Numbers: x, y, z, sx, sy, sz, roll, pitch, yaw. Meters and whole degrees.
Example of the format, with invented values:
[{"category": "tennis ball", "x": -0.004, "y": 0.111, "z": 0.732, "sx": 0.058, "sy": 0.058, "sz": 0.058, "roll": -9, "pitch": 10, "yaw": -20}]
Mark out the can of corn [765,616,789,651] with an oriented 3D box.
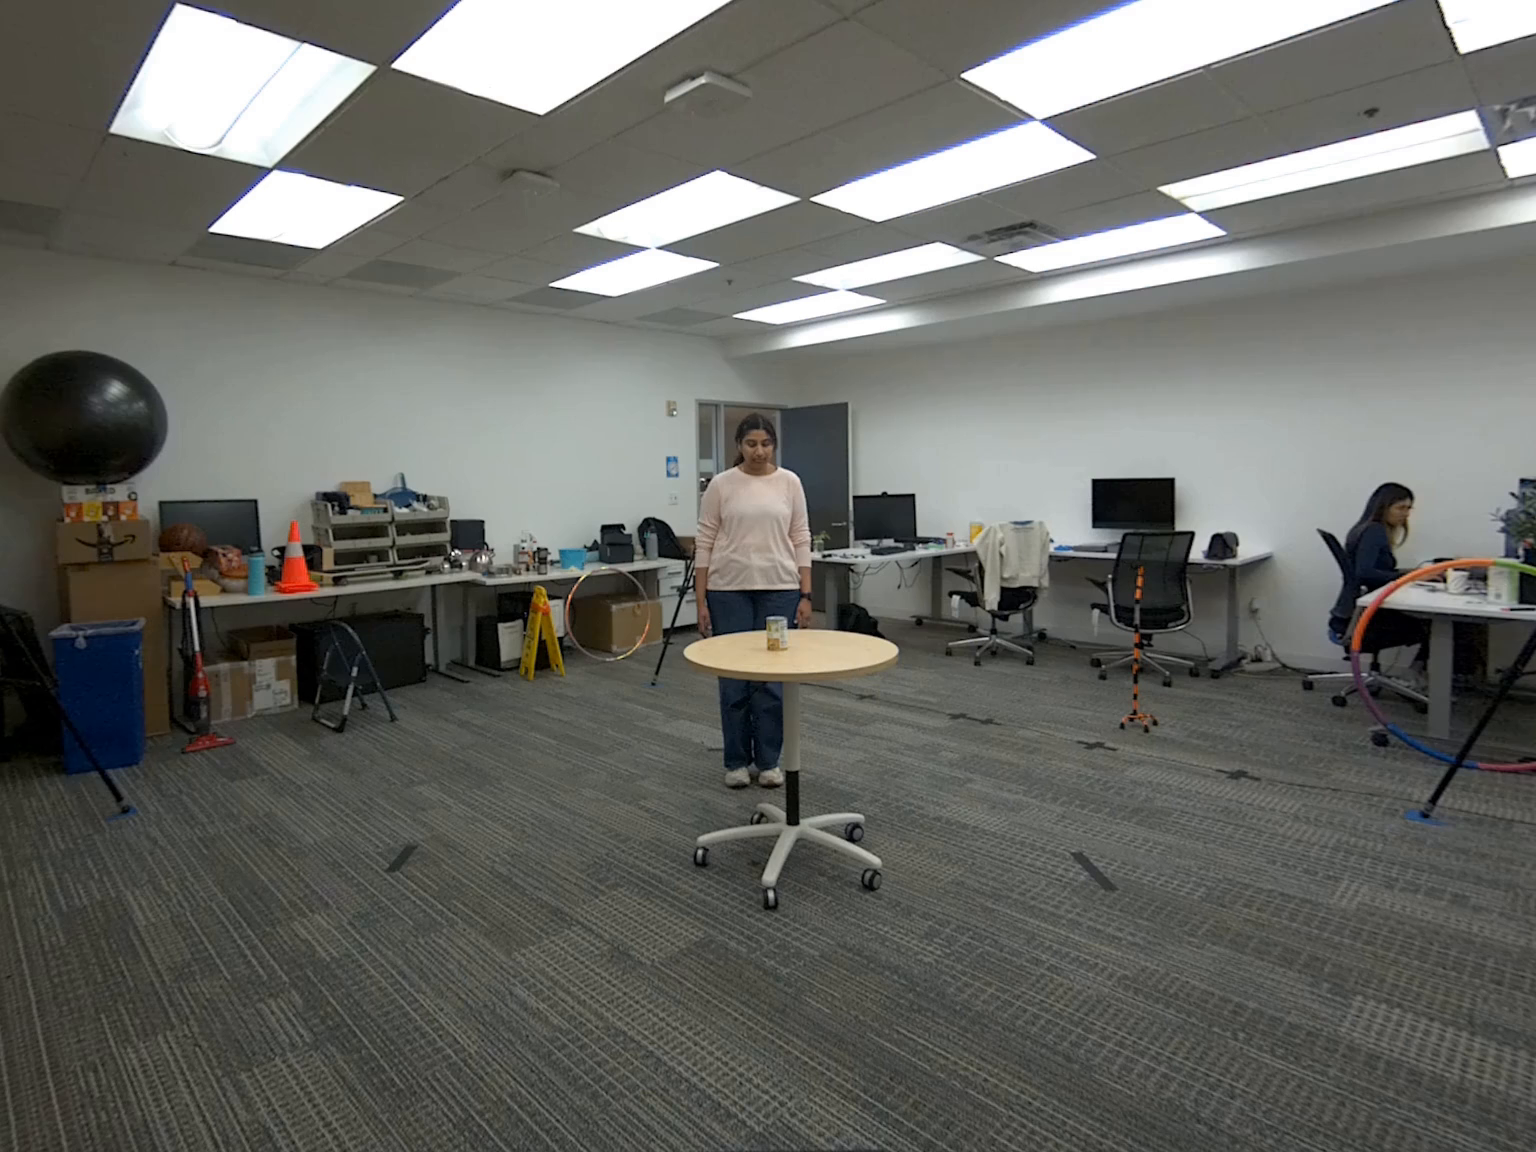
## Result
[{"category": "can of corn", "x": 0.031, "y": 0.208, "z": 3.068, "sx": 0.074, "sy": 0.110, "sz": 0.074, "roll": -4, "pitch": 5, "yaw": -1}]
